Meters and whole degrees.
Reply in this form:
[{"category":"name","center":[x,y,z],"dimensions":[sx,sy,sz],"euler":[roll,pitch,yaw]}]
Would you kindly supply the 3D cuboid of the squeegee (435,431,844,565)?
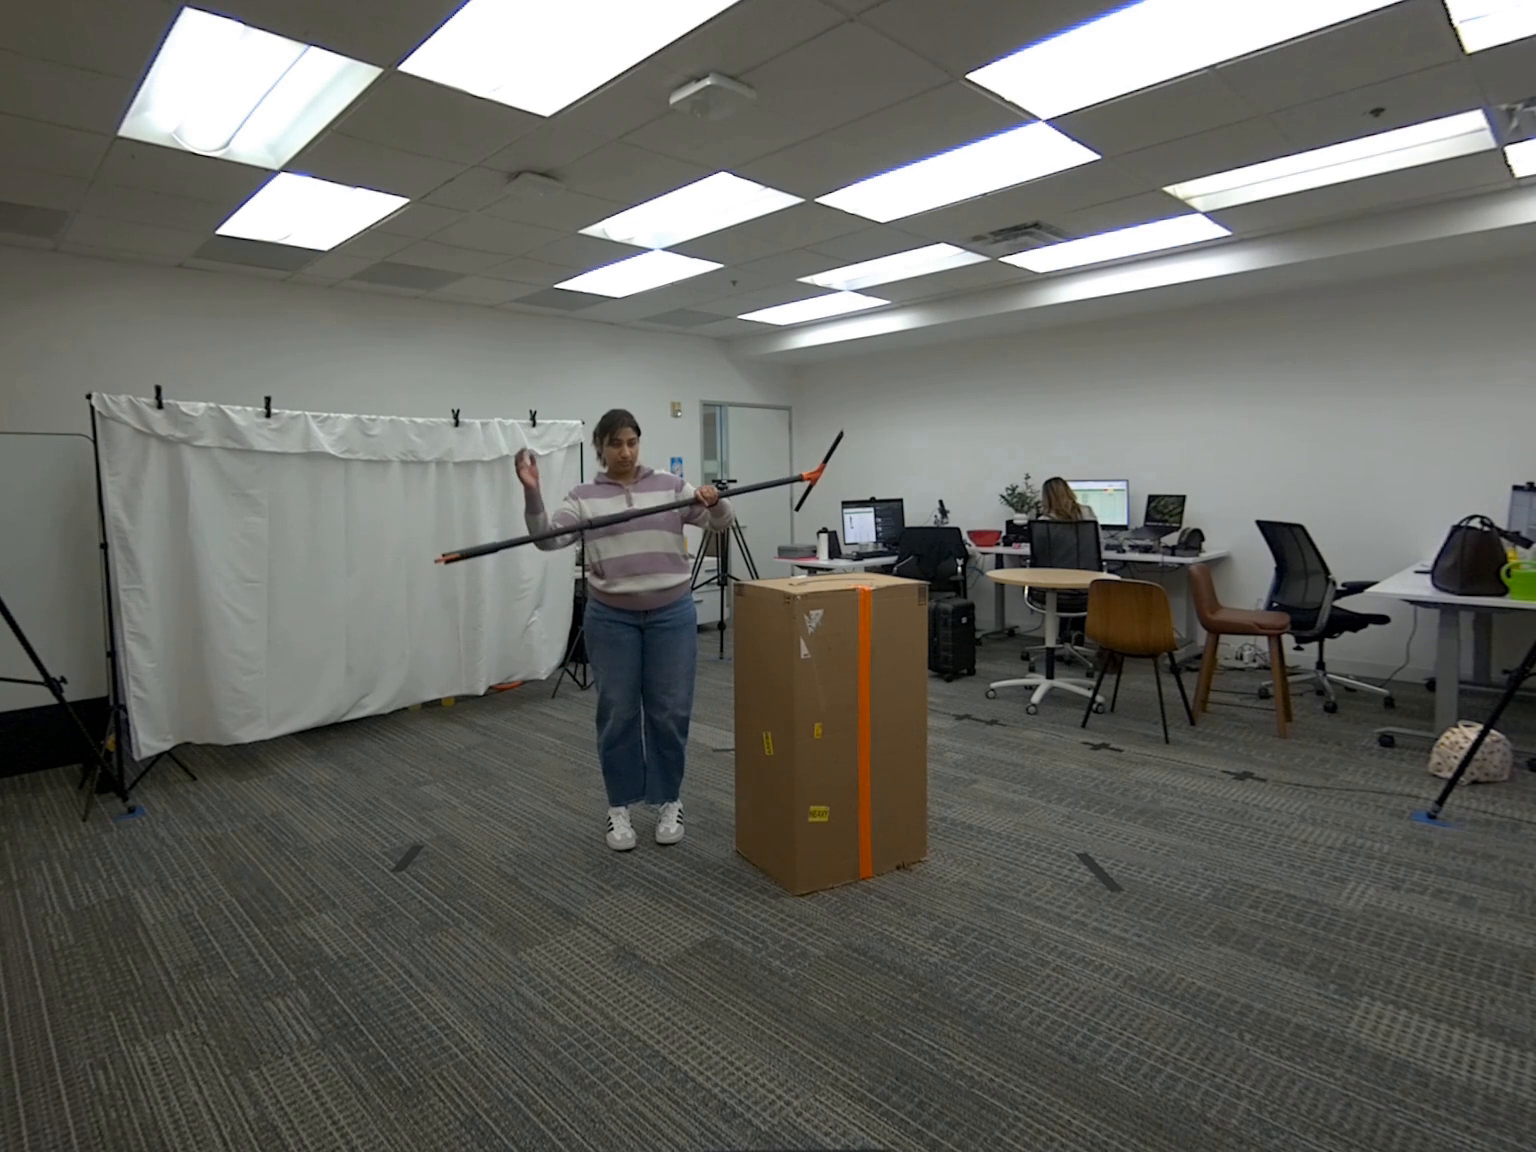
[{"category":"squeegee","center":[-0.379,-0.213,2.894],"dimensions":[1.509,0.054,0.433],"euler":[-17,-26,-34]}]
